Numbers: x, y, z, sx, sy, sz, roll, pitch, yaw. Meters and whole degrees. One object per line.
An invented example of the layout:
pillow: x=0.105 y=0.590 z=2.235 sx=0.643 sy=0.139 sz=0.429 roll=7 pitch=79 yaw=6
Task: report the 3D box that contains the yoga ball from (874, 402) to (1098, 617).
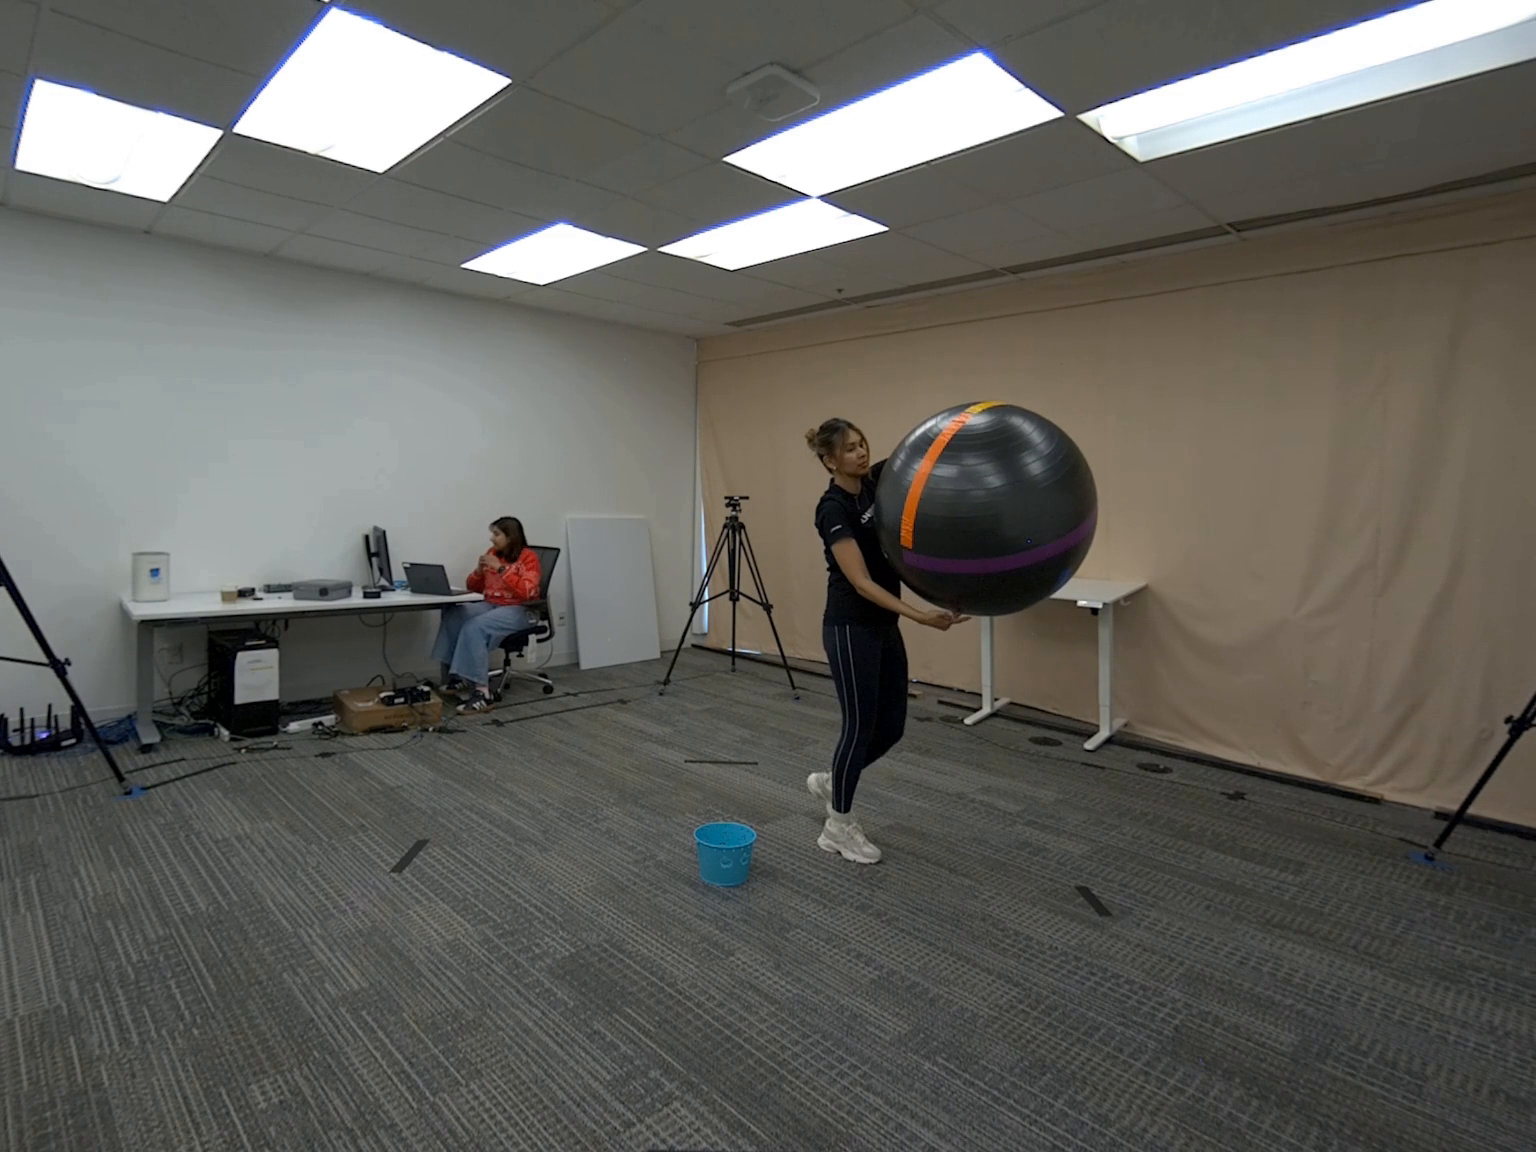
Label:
yoga ball: x=0.771 y=-0.225 z=2.969 sx=0.757 sy=0.756 sz=0.761 roll=1 pitch=4 yaw=-1
